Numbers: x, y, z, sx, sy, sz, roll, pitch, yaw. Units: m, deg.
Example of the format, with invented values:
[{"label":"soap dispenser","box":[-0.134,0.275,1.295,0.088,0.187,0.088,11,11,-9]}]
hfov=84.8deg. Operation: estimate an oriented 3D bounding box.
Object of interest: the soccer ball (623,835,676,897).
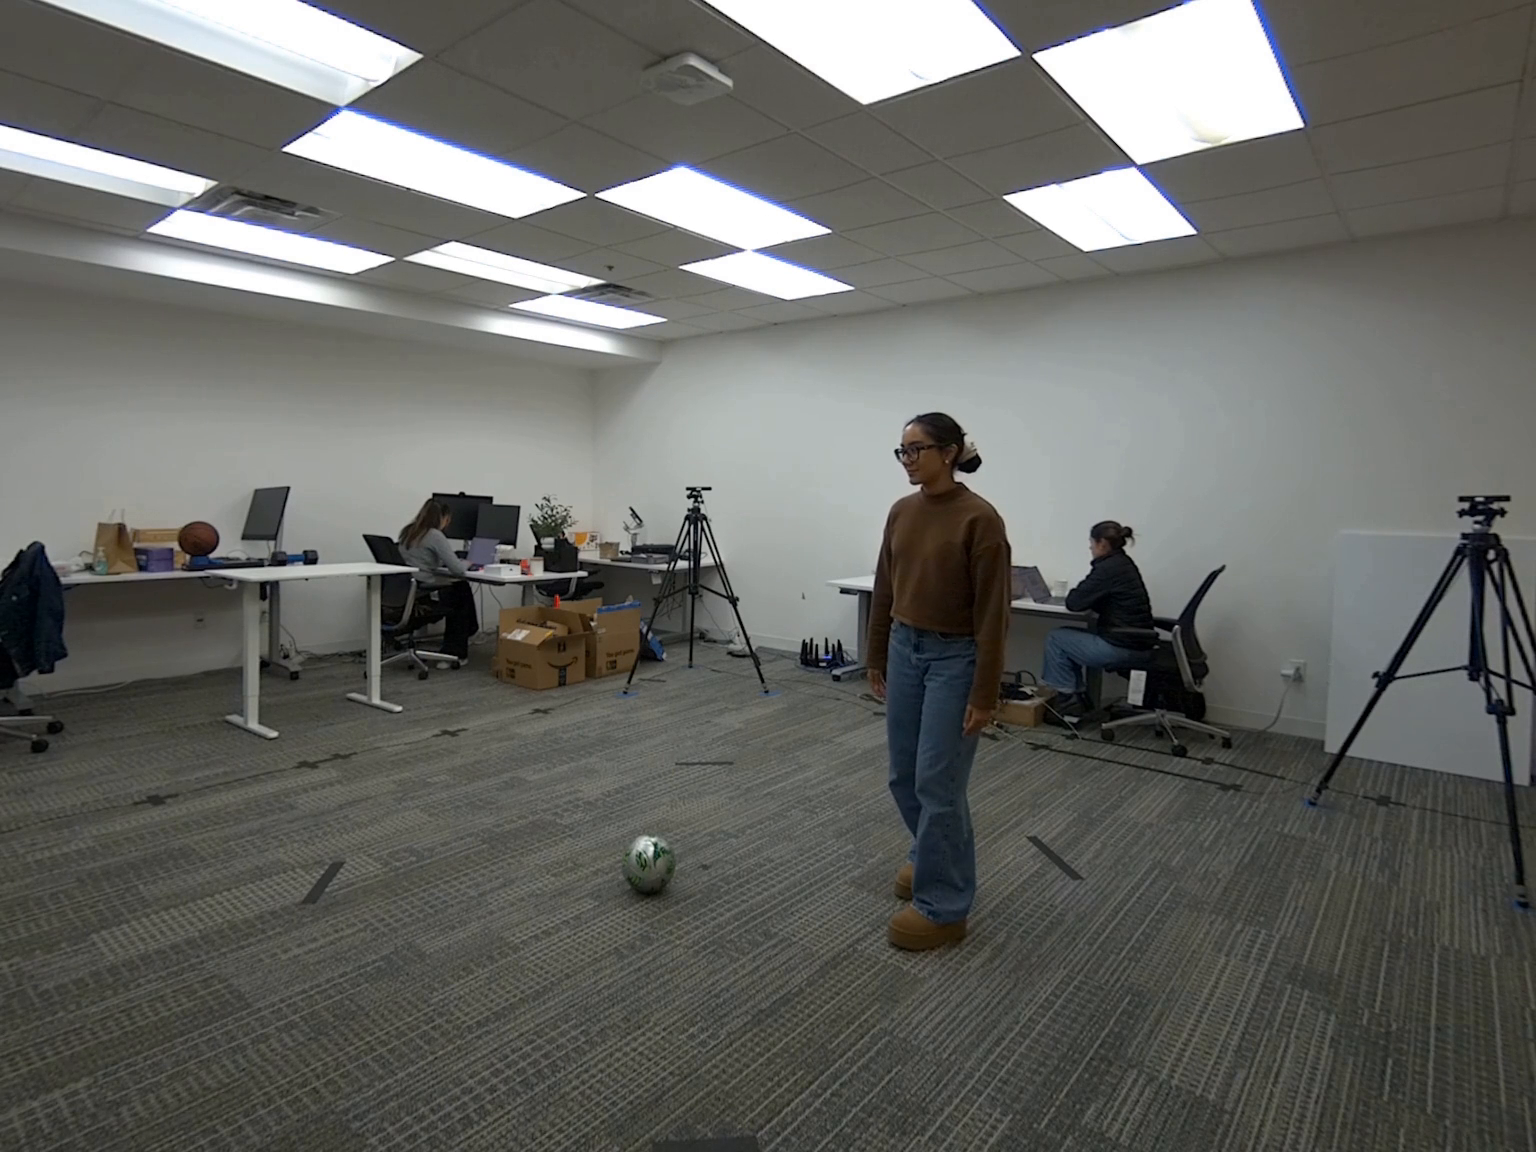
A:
[{"label":"soccer ball","box":[-0.422,0.983,2.926,0.187,0.187,0.188,1,4,-2]}]
